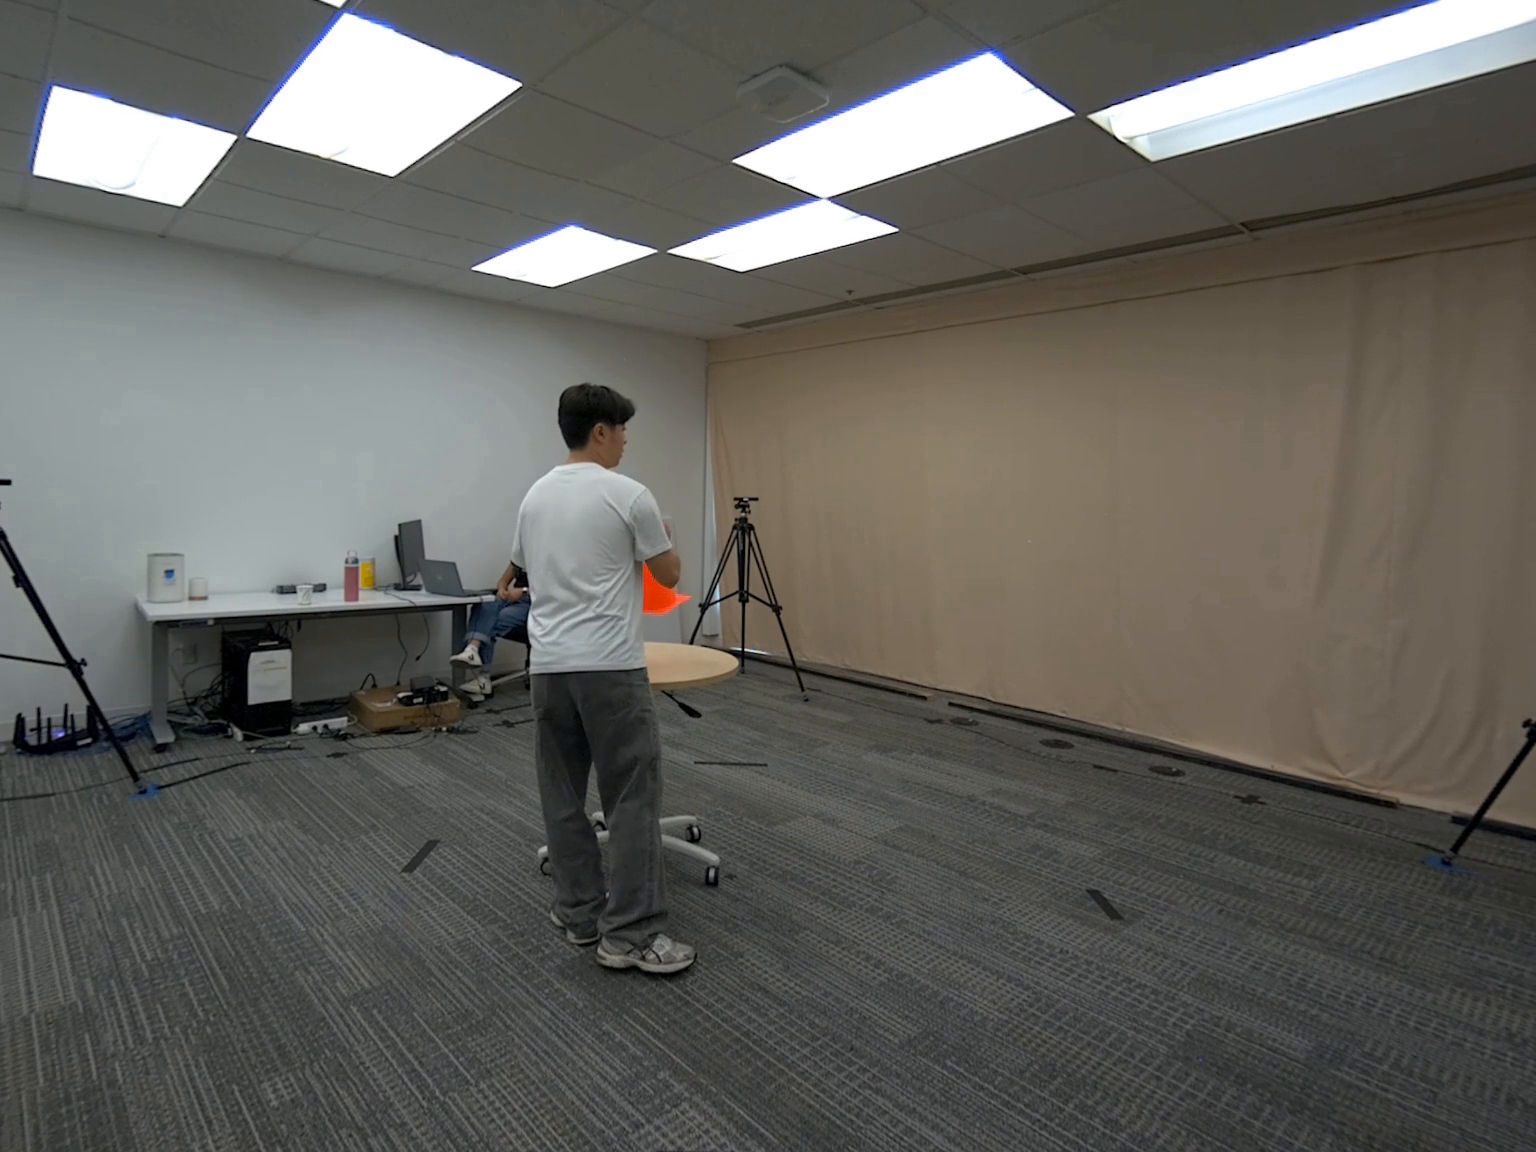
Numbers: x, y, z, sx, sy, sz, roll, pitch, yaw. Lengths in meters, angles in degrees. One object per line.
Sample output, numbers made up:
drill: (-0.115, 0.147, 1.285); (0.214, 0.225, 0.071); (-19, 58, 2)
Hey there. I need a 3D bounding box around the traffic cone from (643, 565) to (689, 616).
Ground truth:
traffic cone: (-0.427, -0.058, 3.005); (0.207, 0.379, 0.203); (3, 15, 24)
